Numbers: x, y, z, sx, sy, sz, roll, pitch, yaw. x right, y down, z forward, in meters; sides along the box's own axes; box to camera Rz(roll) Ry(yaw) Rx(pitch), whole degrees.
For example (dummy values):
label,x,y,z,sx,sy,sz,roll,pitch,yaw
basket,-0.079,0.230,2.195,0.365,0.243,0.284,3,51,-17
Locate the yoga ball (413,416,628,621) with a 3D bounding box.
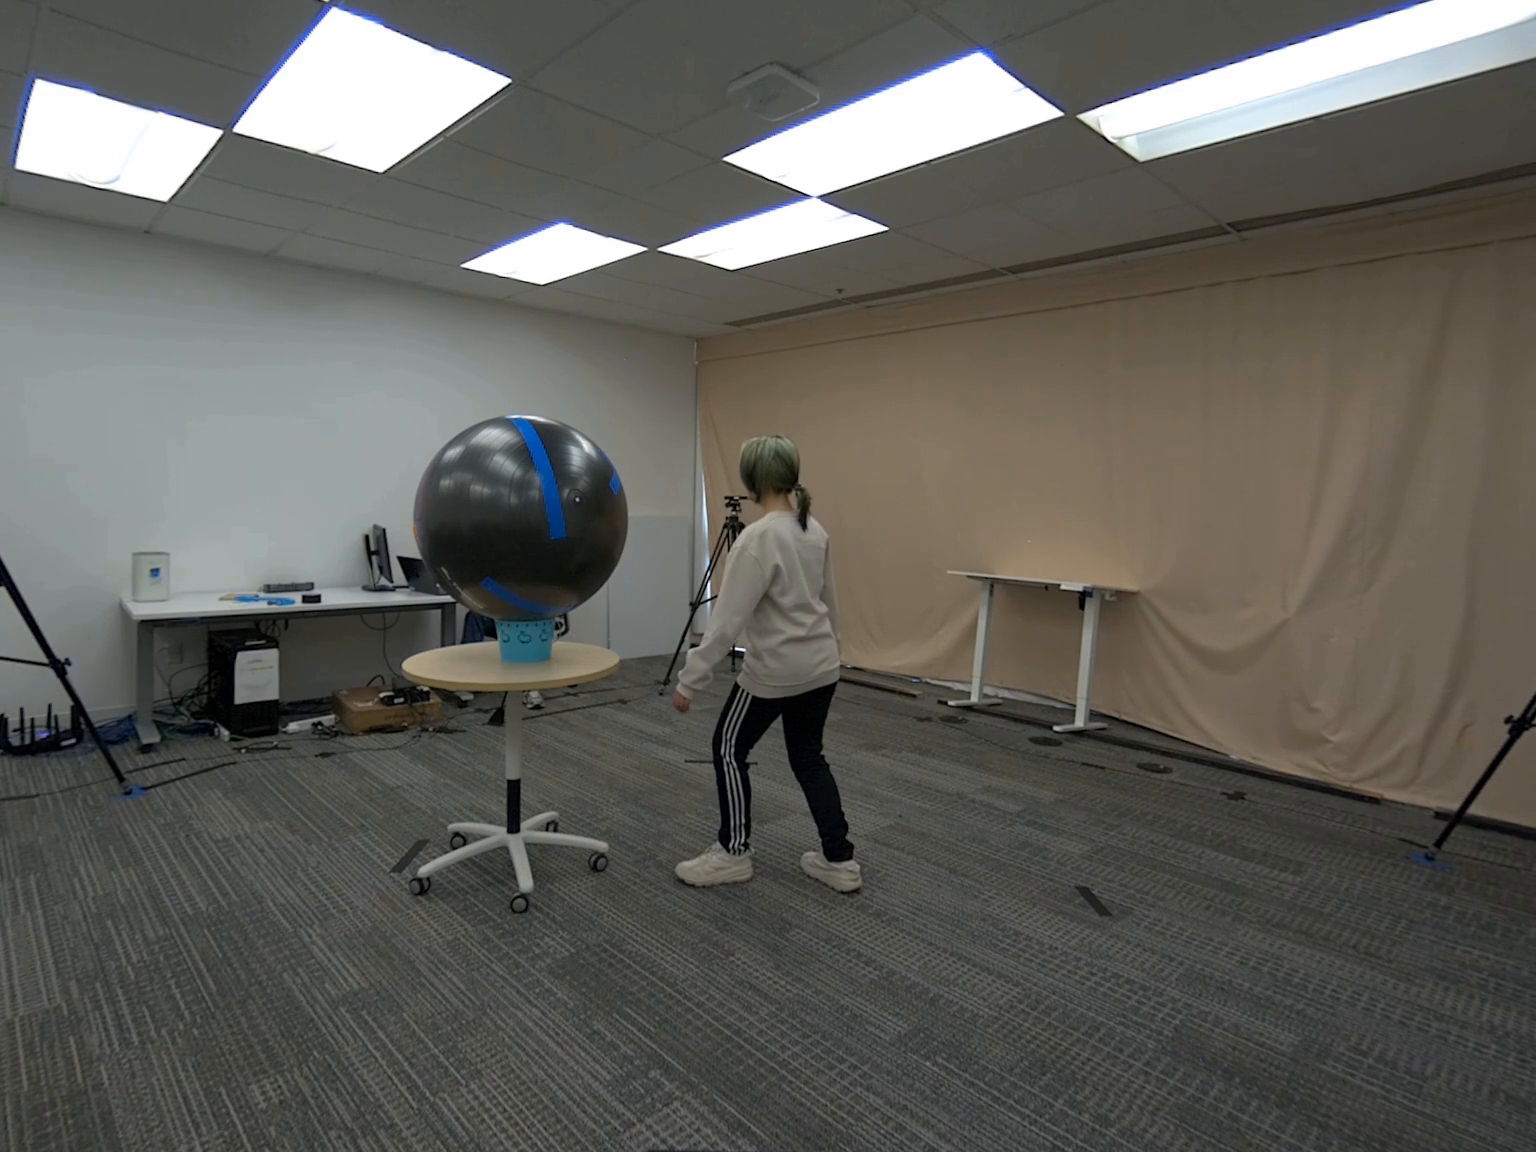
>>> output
label,x,y,z,sx,sy,sz,roll,pitch,yaw
yoga ball,-0.912,-0.206,3.082,0.757,0.756,0.761,1,4,-1
